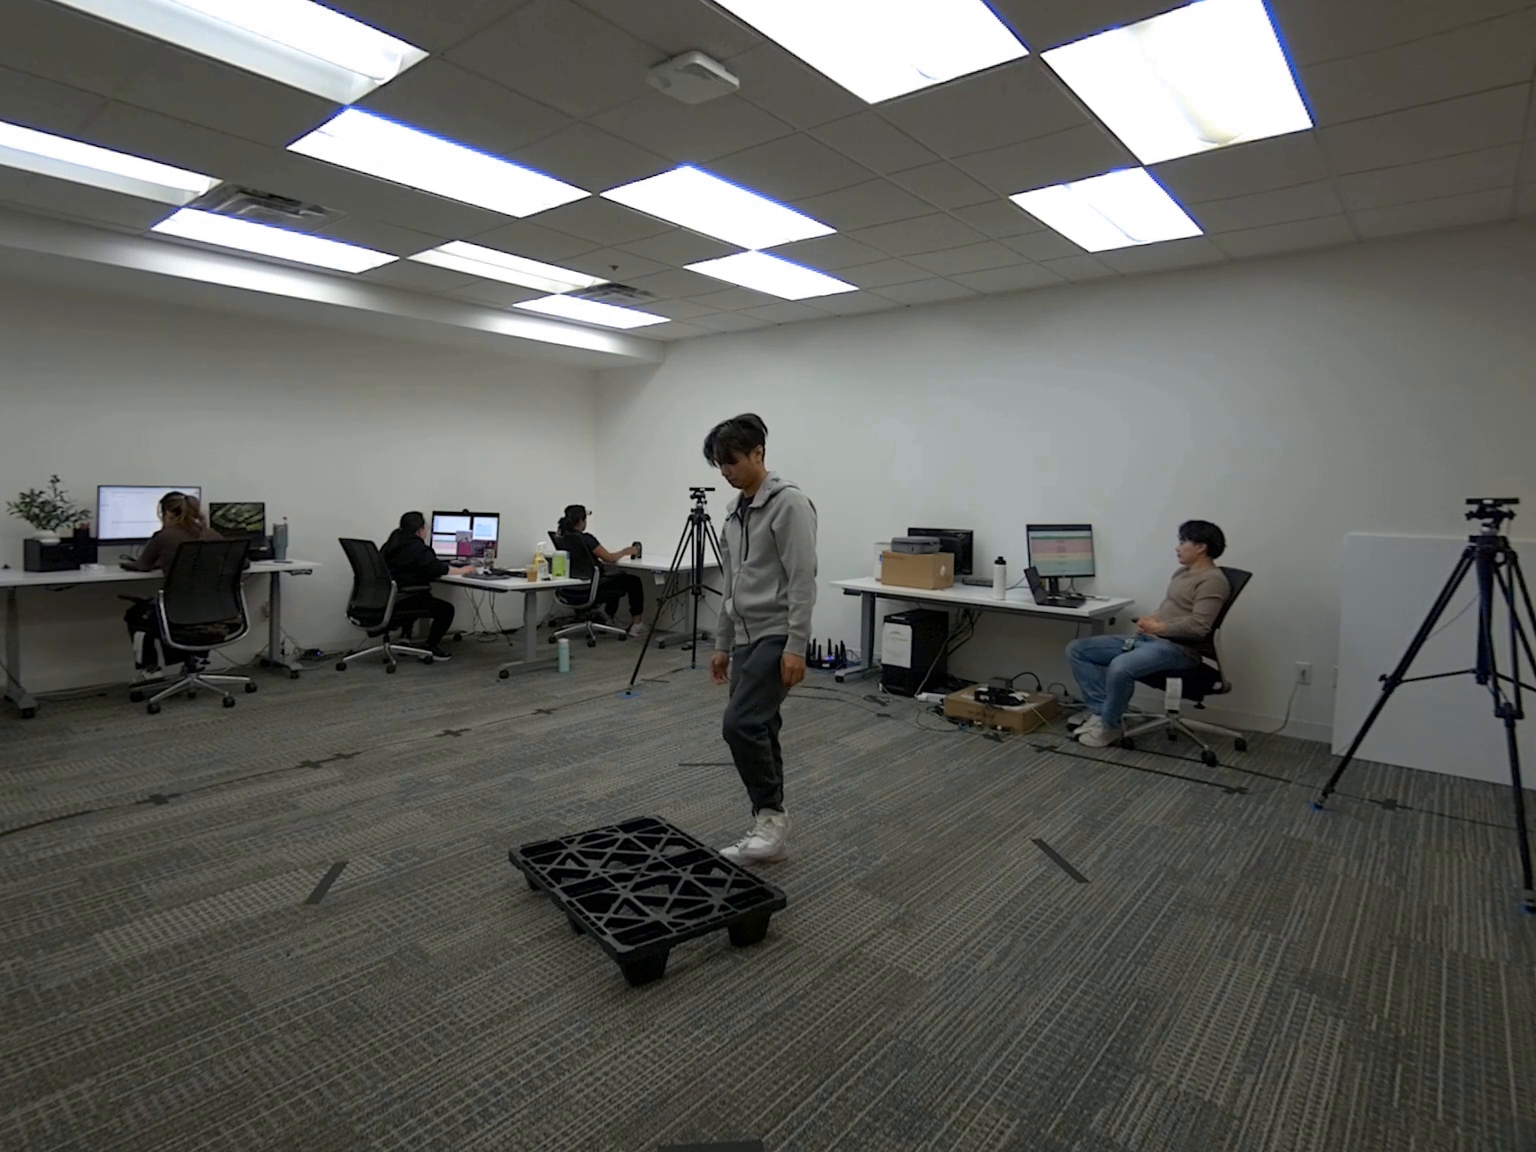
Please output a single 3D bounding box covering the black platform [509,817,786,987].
[{"bbox_3d":[-0.427,1.028,2.790,0.587,0.143,0.833,-2,7,-37],"label":"black platform"}]
